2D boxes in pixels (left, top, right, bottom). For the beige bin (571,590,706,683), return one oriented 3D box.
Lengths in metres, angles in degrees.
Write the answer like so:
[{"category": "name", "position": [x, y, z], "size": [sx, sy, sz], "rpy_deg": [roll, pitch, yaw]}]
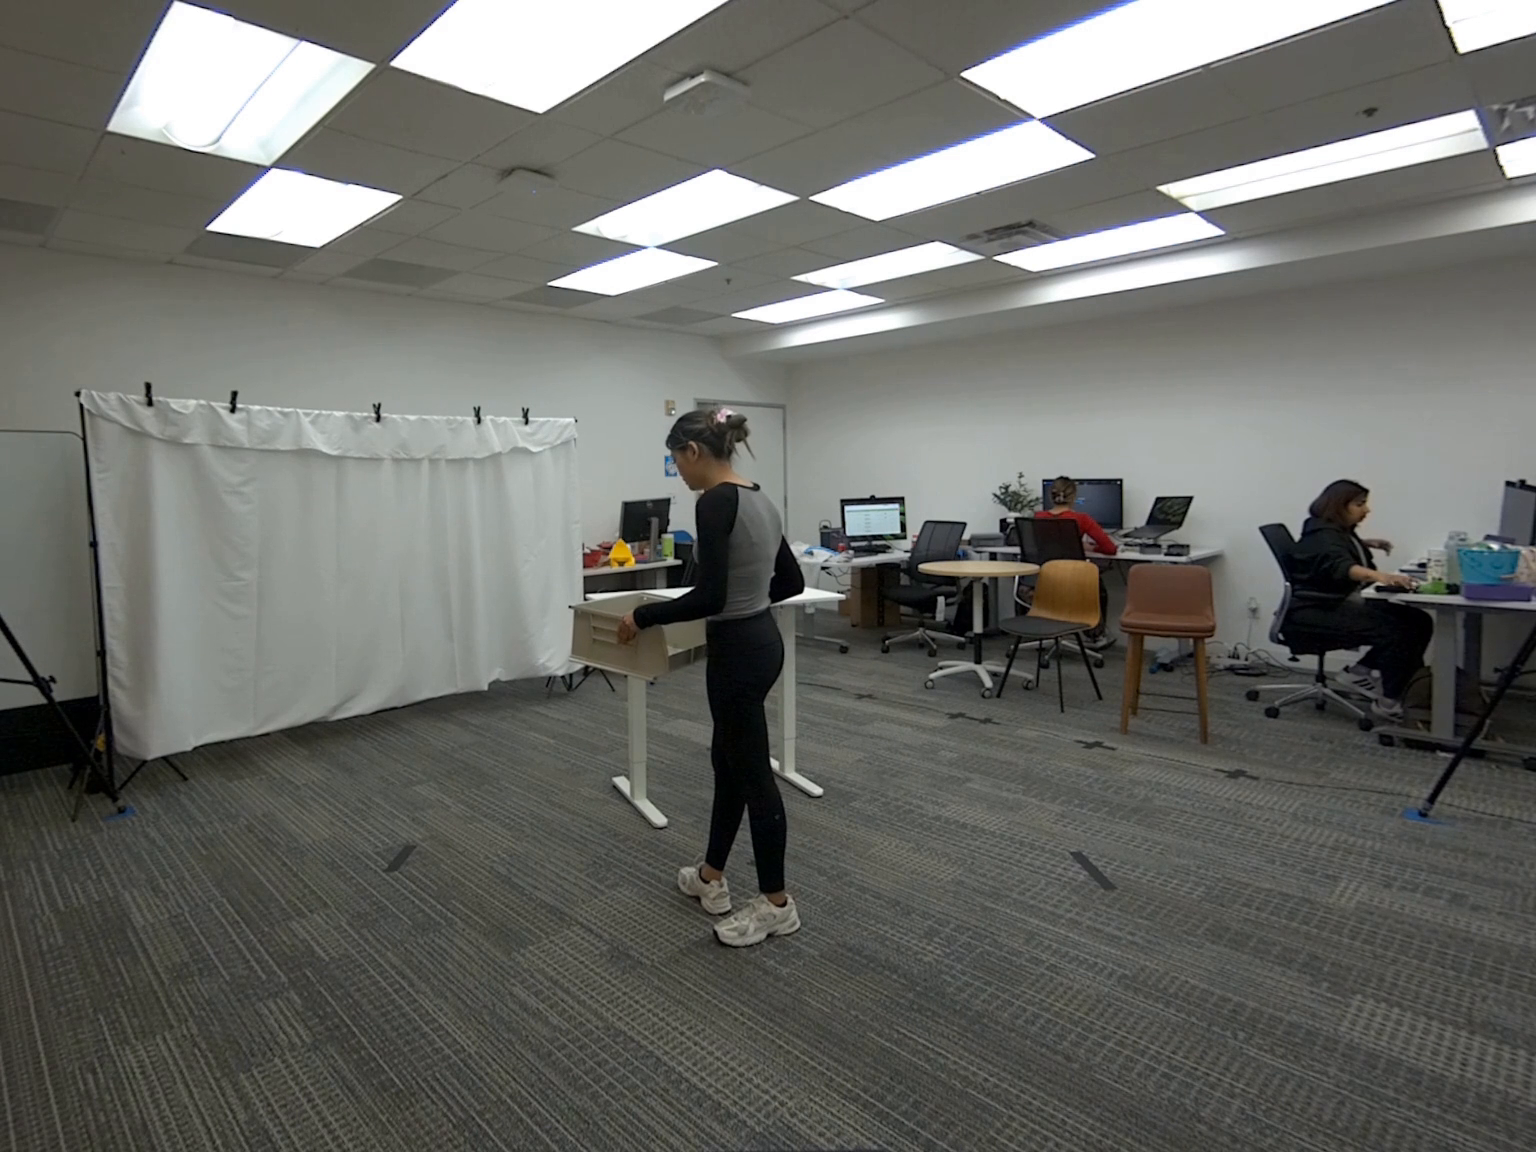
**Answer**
[{"category": "beige bin", "position": [-0.376, 0.184, 2.793], "size": [0.387, 0.188, 0.413], "rpy_deg": [8, 9, 27]}]
